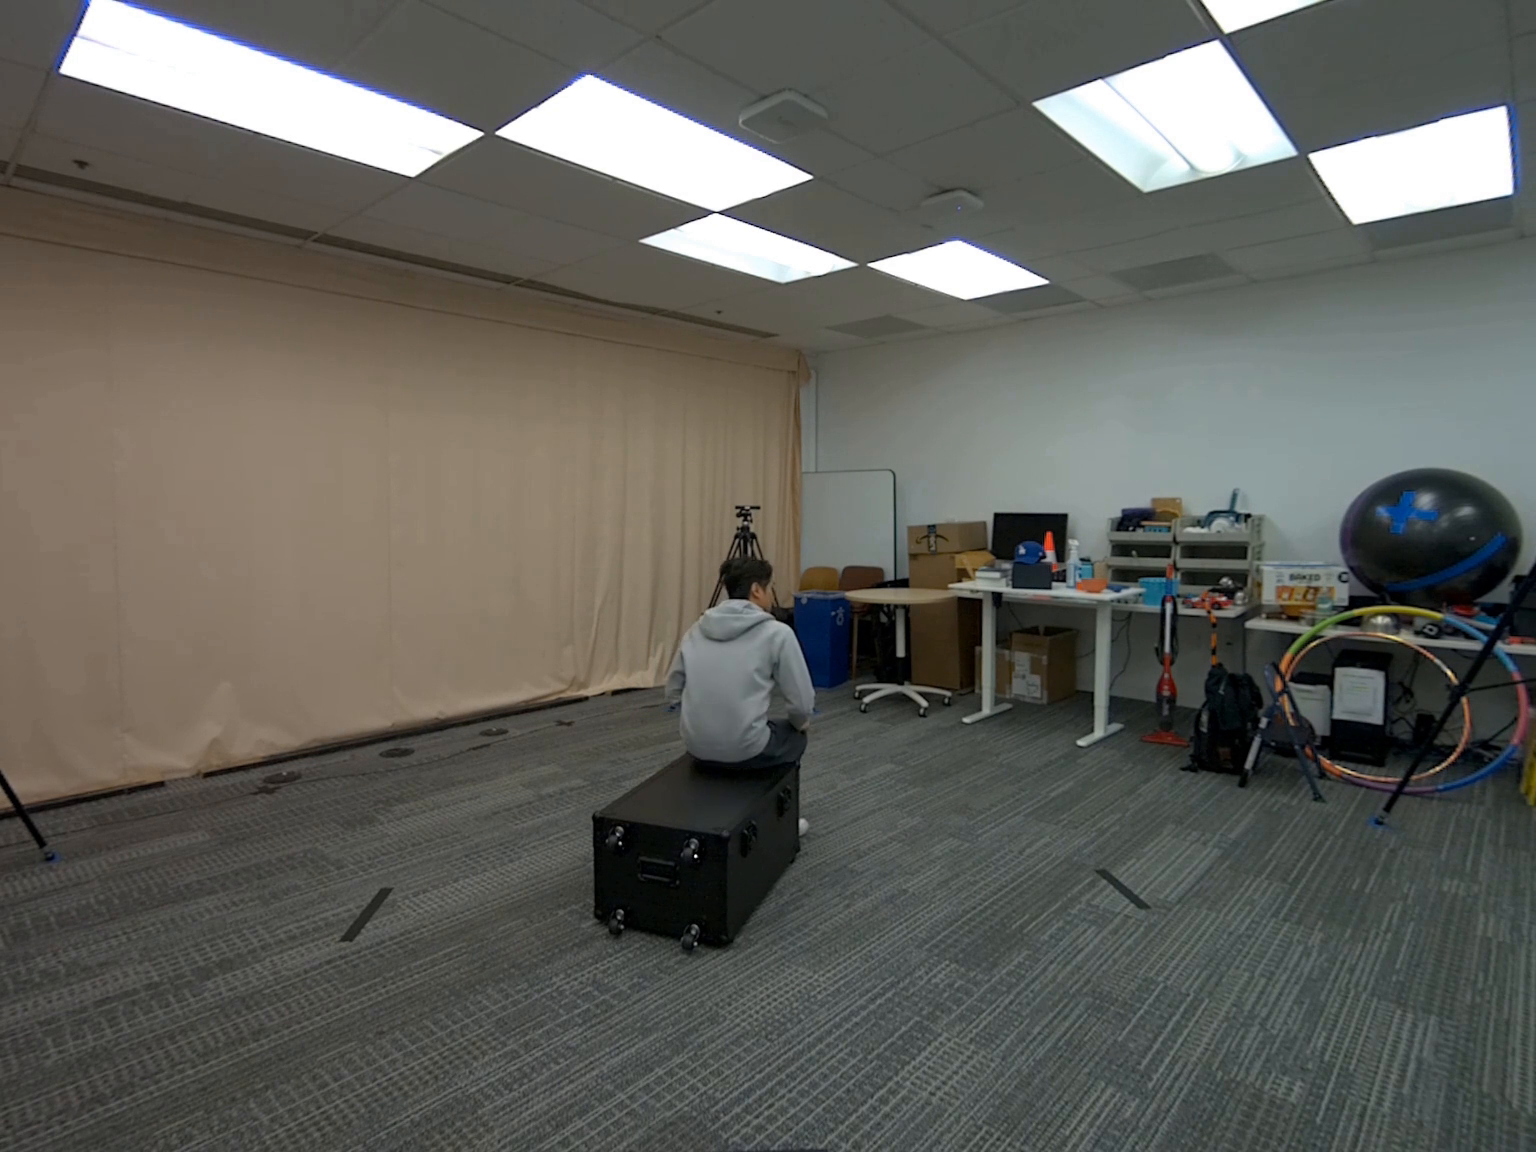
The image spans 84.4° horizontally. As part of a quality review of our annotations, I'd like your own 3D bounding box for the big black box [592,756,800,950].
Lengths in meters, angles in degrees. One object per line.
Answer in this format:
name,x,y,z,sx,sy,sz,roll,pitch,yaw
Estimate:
big black box,-0.213,0.947,3.086,0.533,0.395,0.845,2,6,21
